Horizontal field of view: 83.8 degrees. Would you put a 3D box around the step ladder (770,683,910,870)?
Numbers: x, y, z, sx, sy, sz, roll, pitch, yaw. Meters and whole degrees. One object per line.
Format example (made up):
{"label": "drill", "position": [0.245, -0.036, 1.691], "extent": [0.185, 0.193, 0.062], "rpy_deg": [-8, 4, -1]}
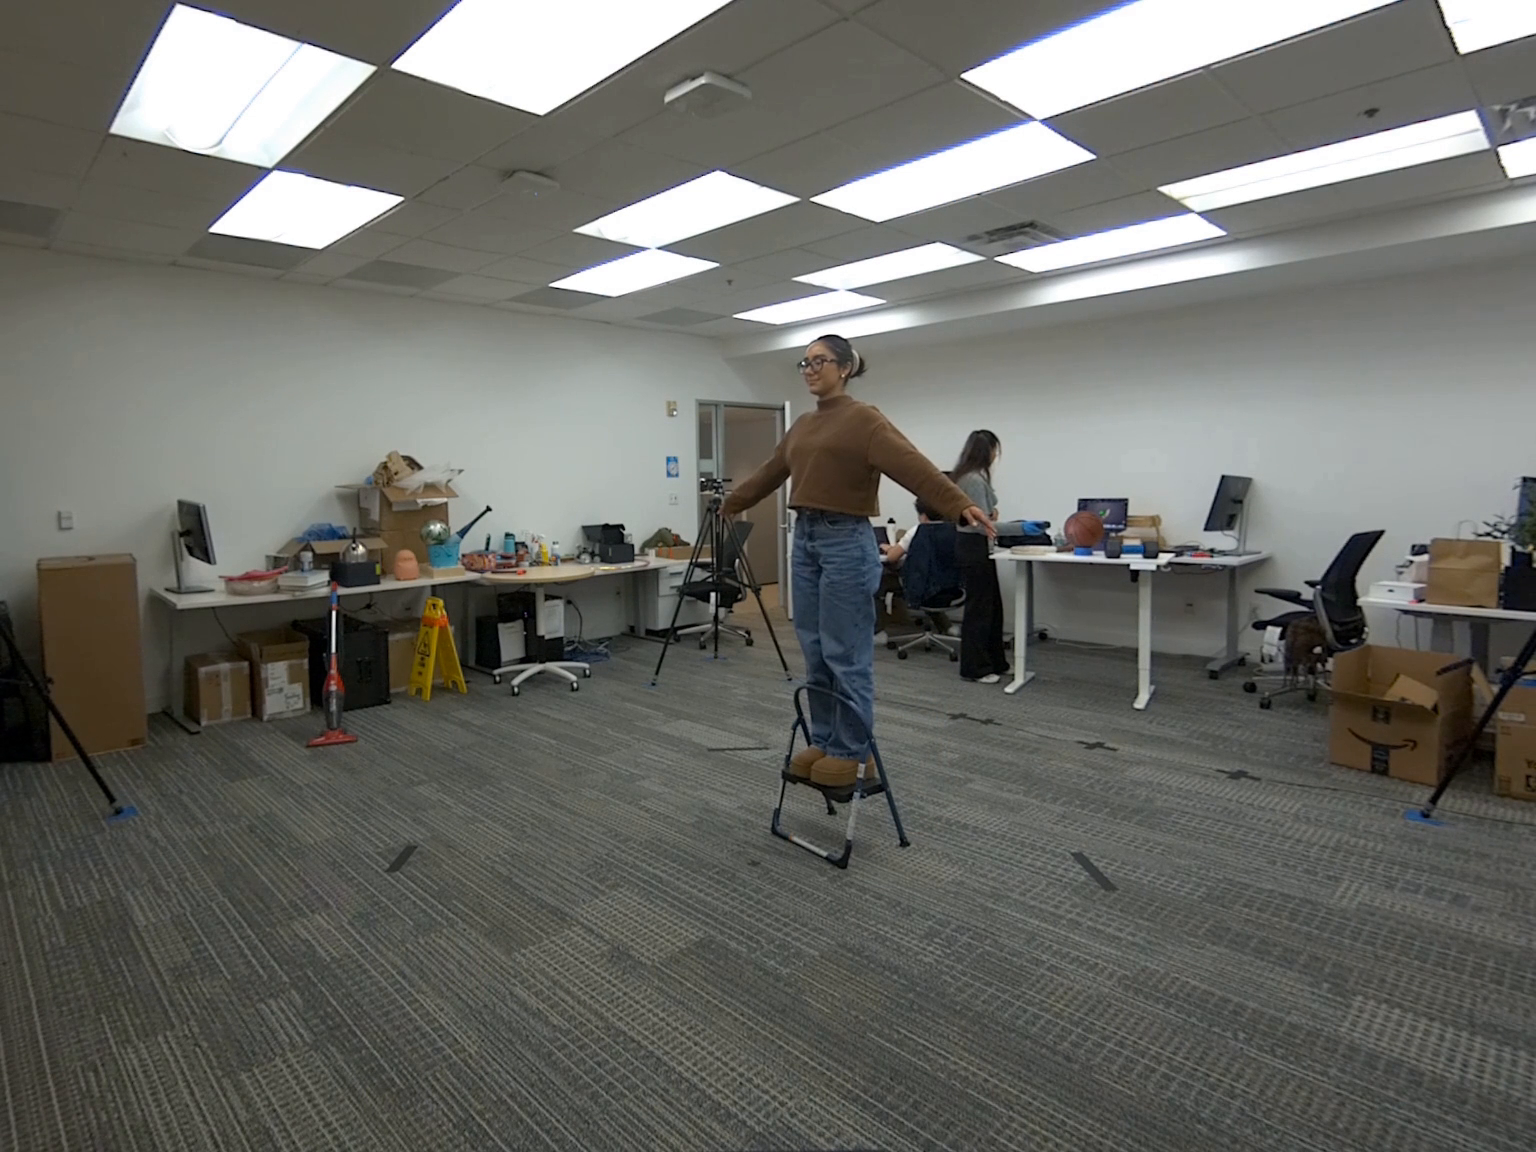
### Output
{"label": "step ladder", "position": [0.266, 0.718, 3.286], "extent": [0.340, 0.604, 0.444], "rpy_deg": [-5, 6, -39]}
